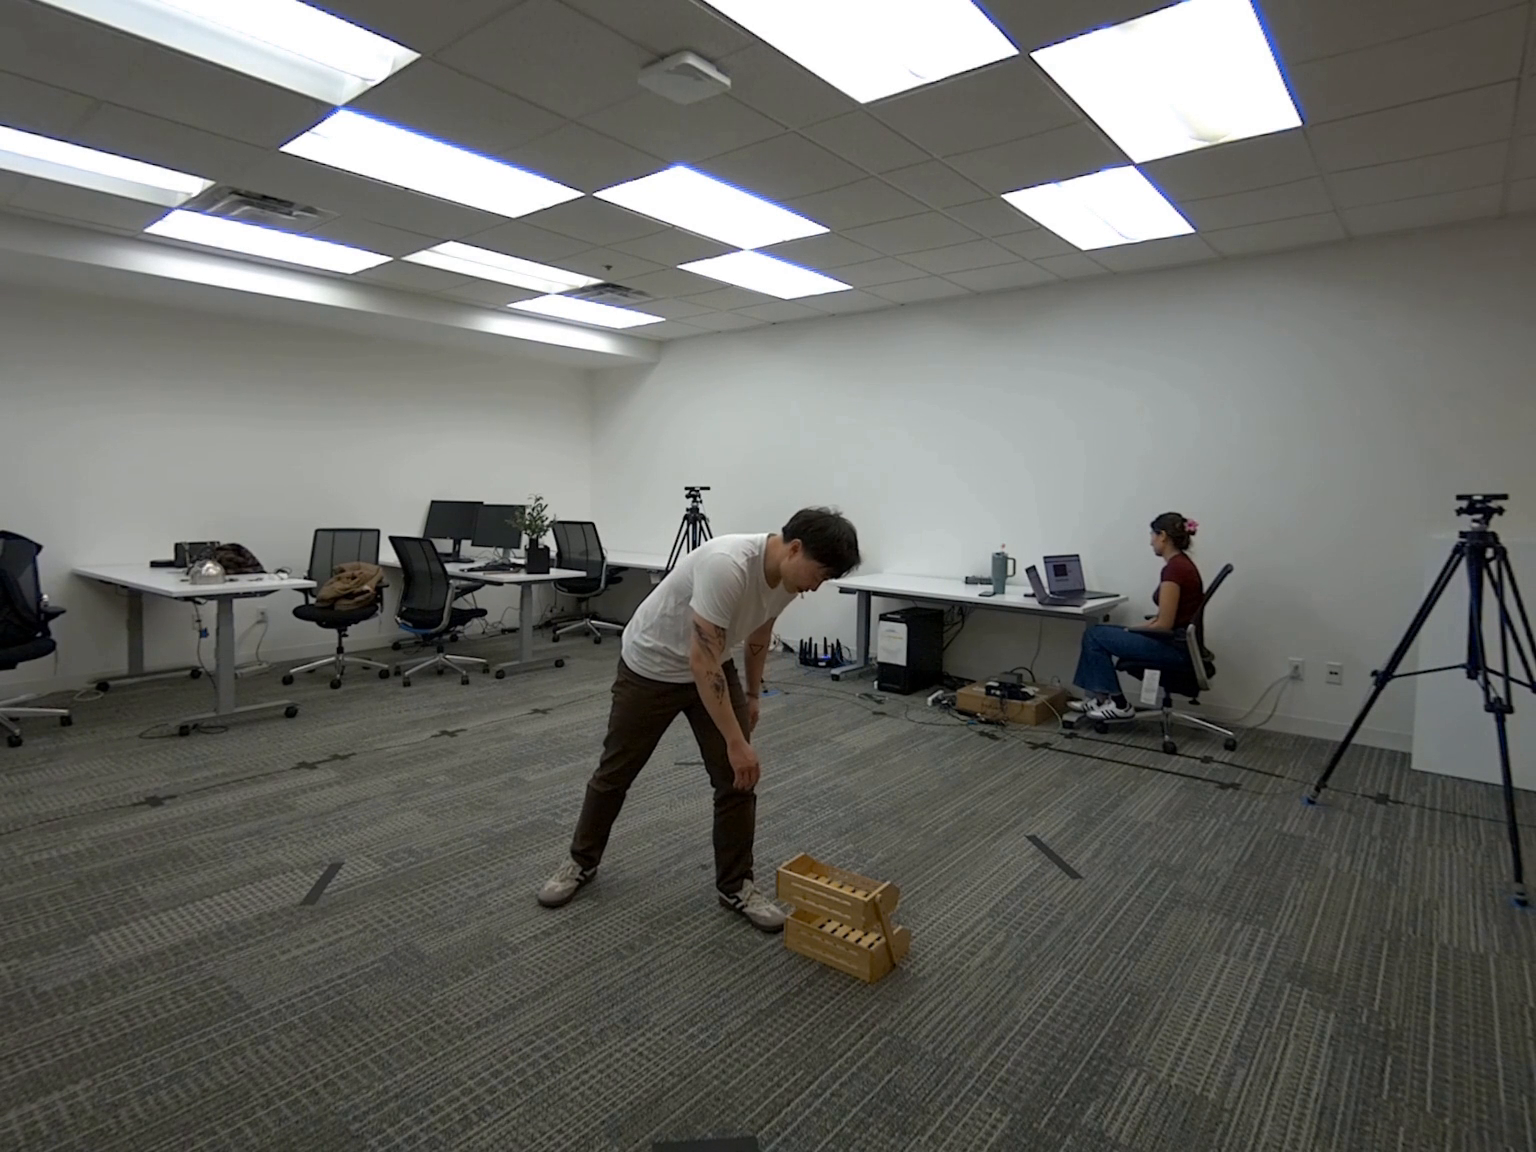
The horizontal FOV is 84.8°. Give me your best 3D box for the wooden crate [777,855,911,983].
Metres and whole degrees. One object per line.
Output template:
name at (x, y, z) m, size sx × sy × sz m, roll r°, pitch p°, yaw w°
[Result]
wooden crate at (0.223, 0.993, 2.558) m, size 0.335 × 0.272 × 0.293 m, roll 4°, pitch 6°, yaw 36°
